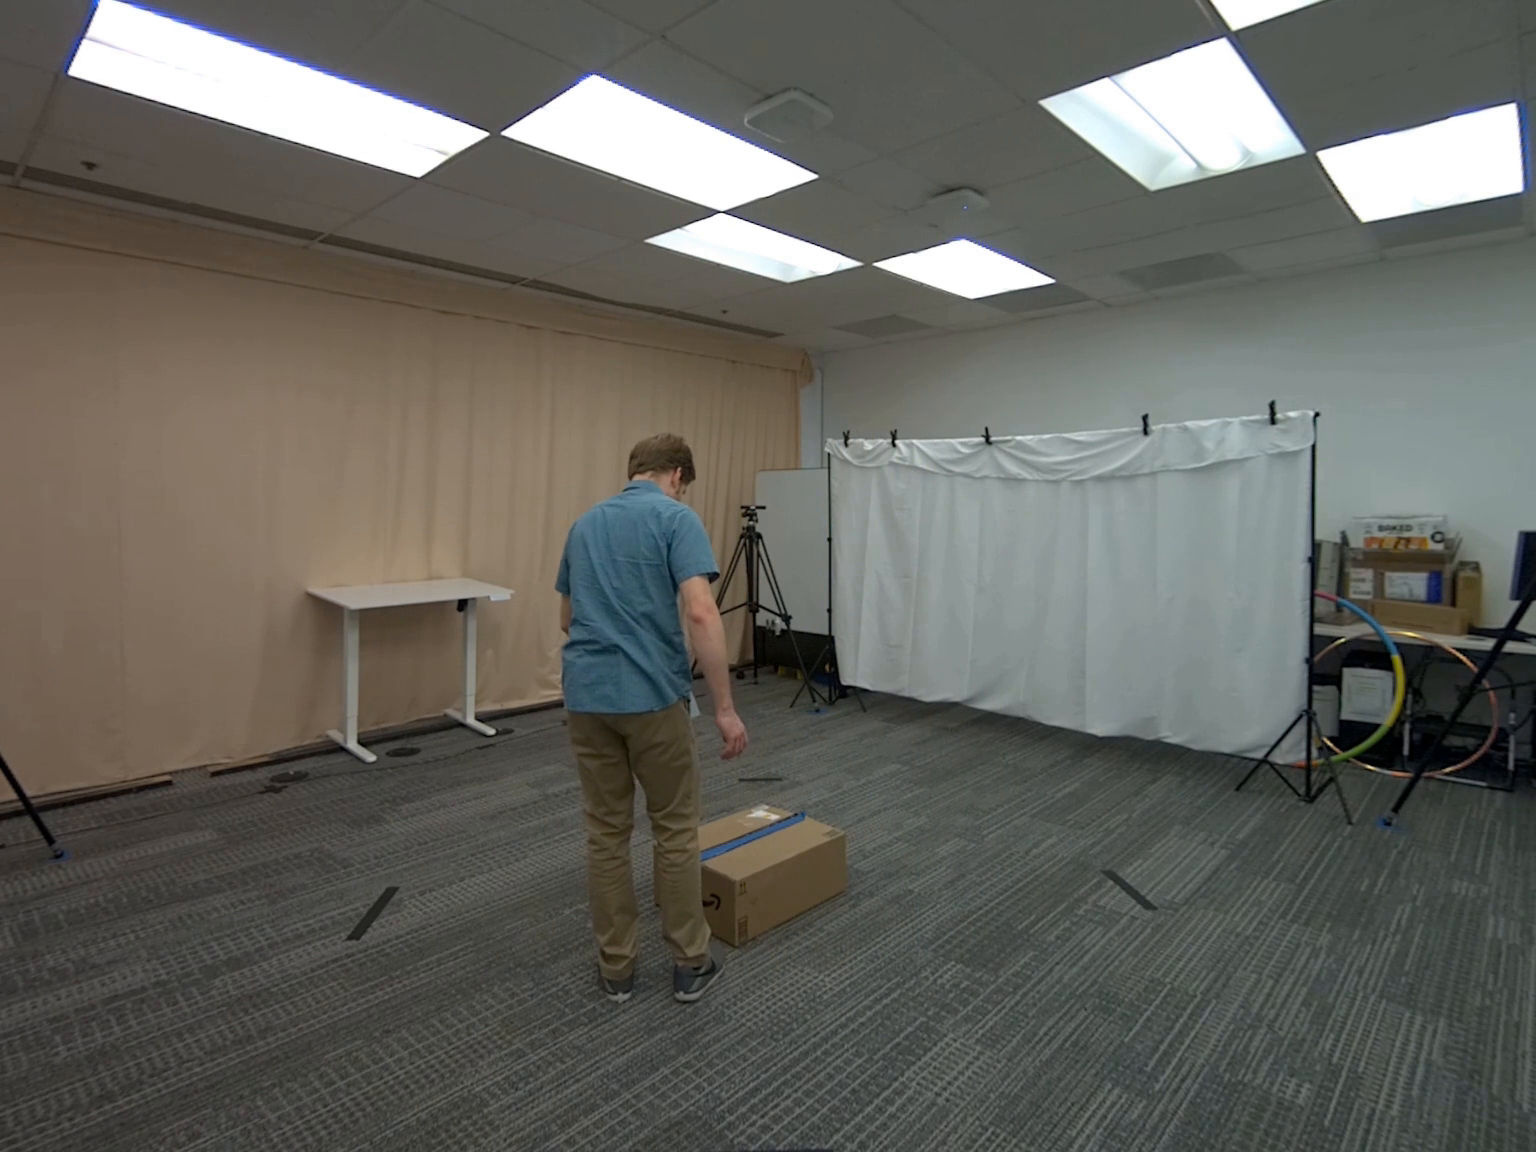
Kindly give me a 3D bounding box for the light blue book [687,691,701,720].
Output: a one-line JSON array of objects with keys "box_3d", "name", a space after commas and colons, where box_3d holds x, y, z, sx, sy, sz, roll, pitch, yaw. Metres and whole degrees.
[{"box_3d": [-0.377, 0.411, 2.777, 0.258, 0.191, 0.059, -15, 0, -12], "name": "light blue book"}]
